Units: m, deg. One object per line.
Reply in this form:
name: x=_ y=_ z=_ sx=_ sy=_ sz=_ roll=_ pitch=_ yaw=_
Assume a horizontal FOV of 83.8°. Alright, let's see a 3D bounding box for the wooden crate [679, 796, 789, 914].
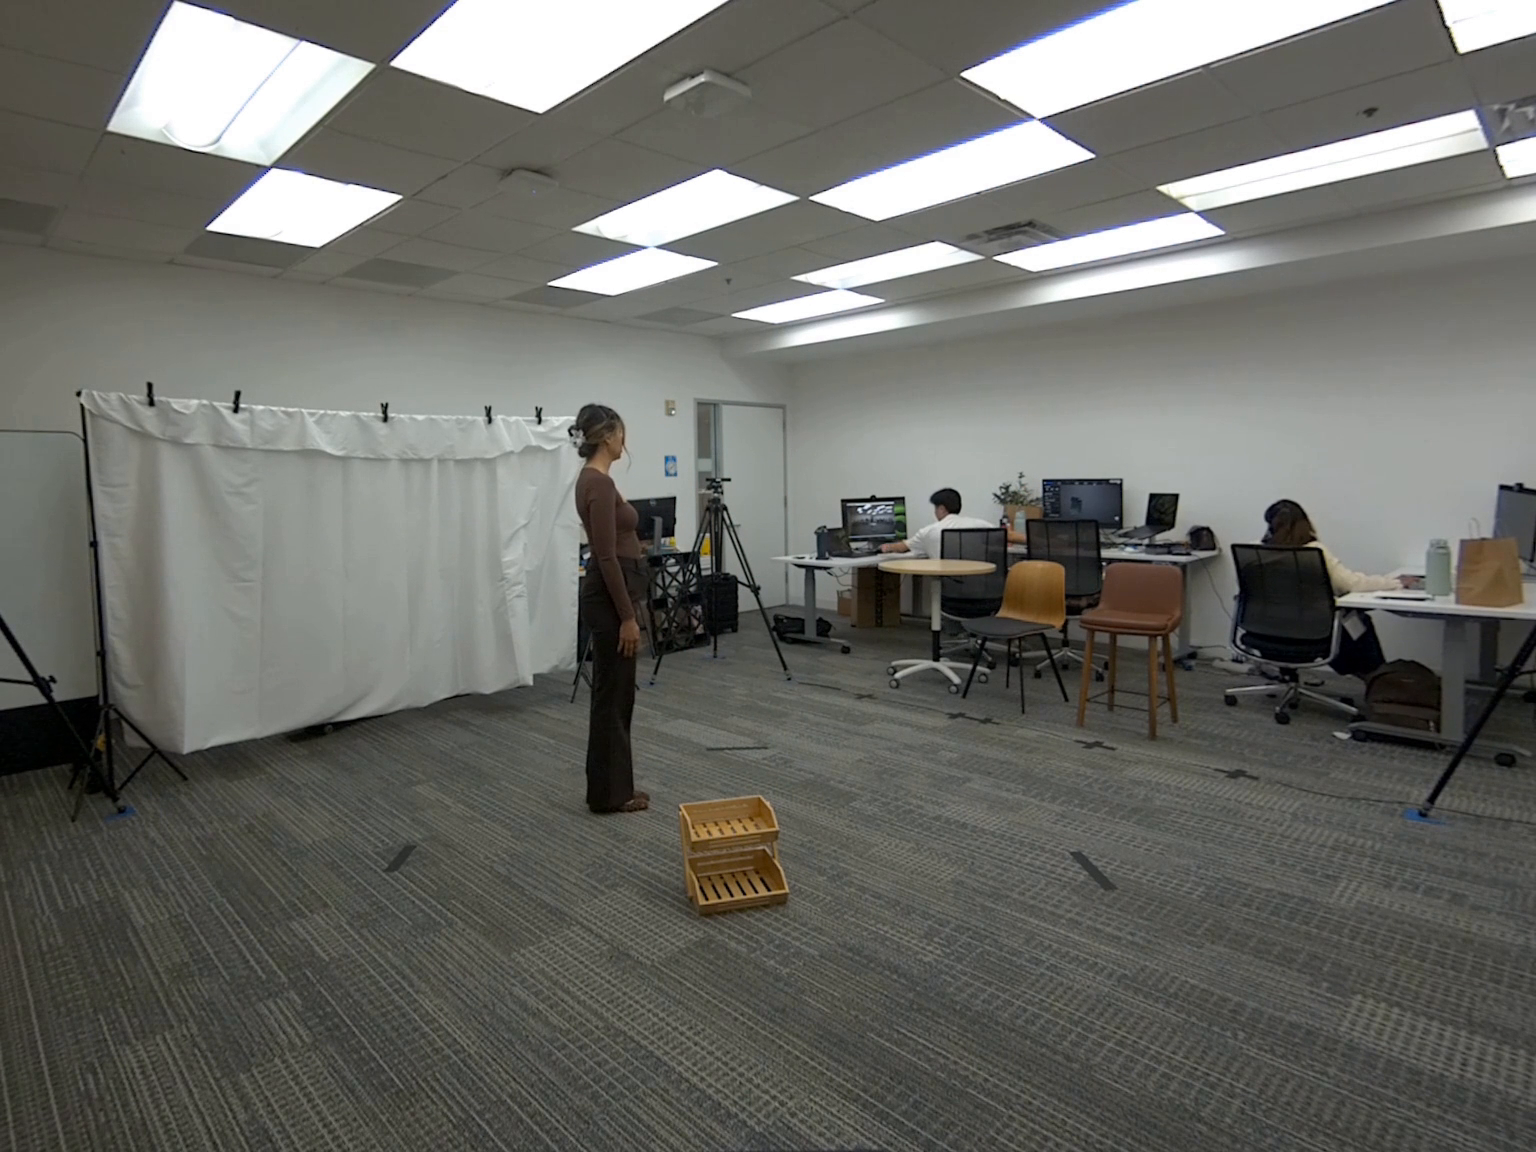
wooden crate: x=-0.118 y=0.933 z=2.887 sx=0.320 sy=0.272 sz=0.308 roll=-2 pitch=5 yaw=-17
